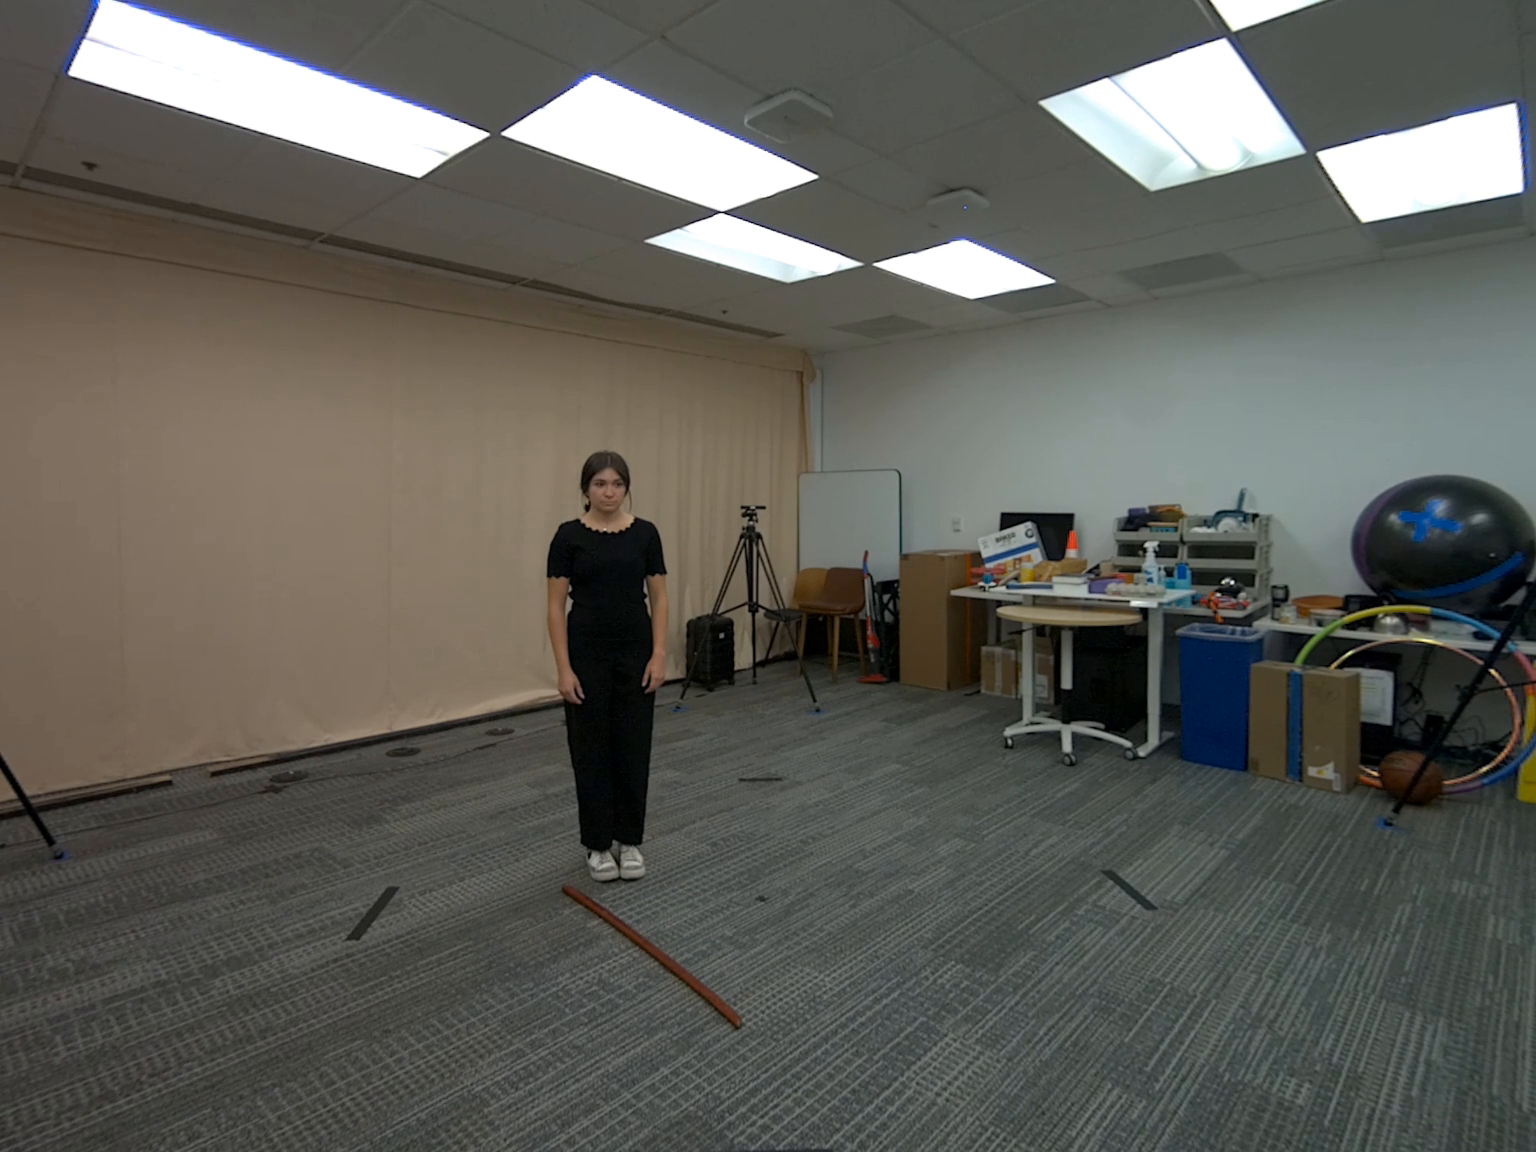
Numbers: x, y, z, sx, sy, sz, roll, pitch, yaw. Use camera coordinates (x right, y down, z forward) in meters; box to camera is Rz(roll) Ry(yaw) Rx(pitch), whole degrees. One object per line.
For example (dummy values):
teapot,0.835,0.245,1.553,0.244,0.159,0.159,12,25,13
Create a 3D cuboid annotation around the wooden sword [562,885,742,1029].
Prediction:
wooden sword,-0.383,1.149,2.665,0.050,0.024,1.058,-12,11,-36
